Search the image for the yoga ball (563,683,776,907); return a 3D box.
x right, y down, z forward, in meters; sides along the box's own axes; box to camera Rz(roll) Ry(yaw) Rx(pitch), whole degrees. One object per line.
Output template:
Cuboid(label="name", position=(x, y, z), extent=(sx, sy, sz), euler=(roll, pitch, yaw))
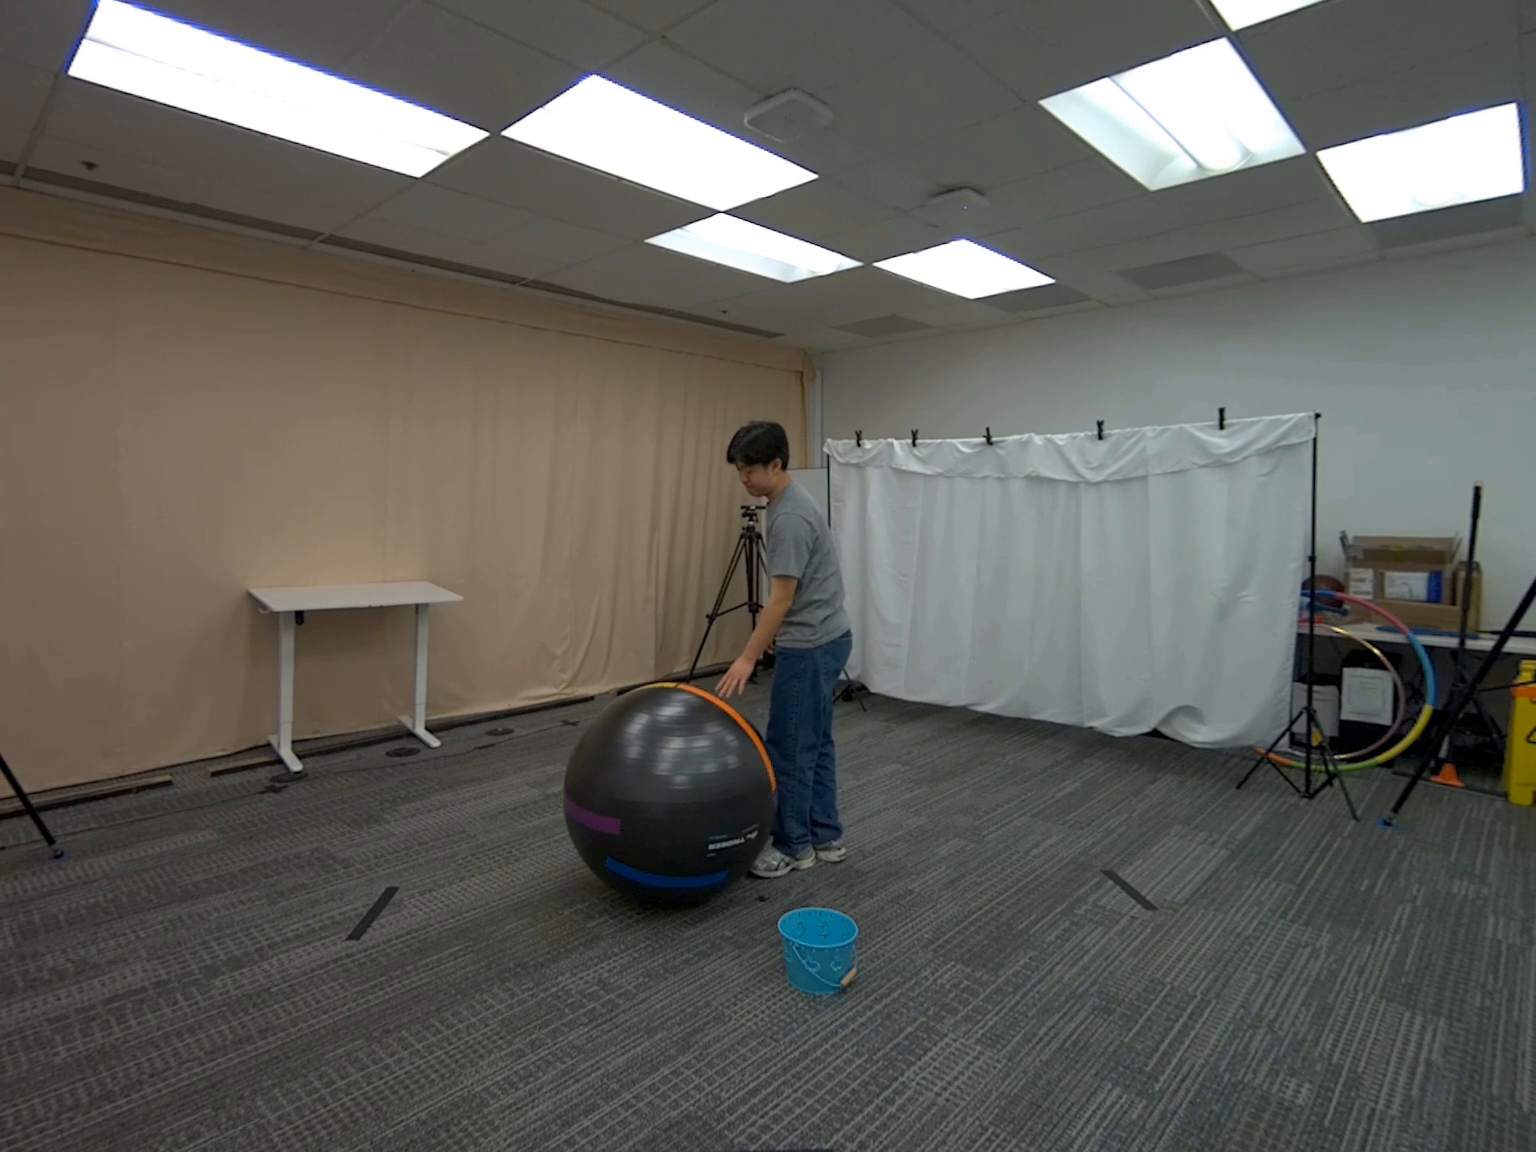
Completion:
Cuboid(label="yoga ball", position=(-0.359, 0.771, 3.011), extent=(0.757, 0.756, 0.760), euler=(0, 4, -2))
